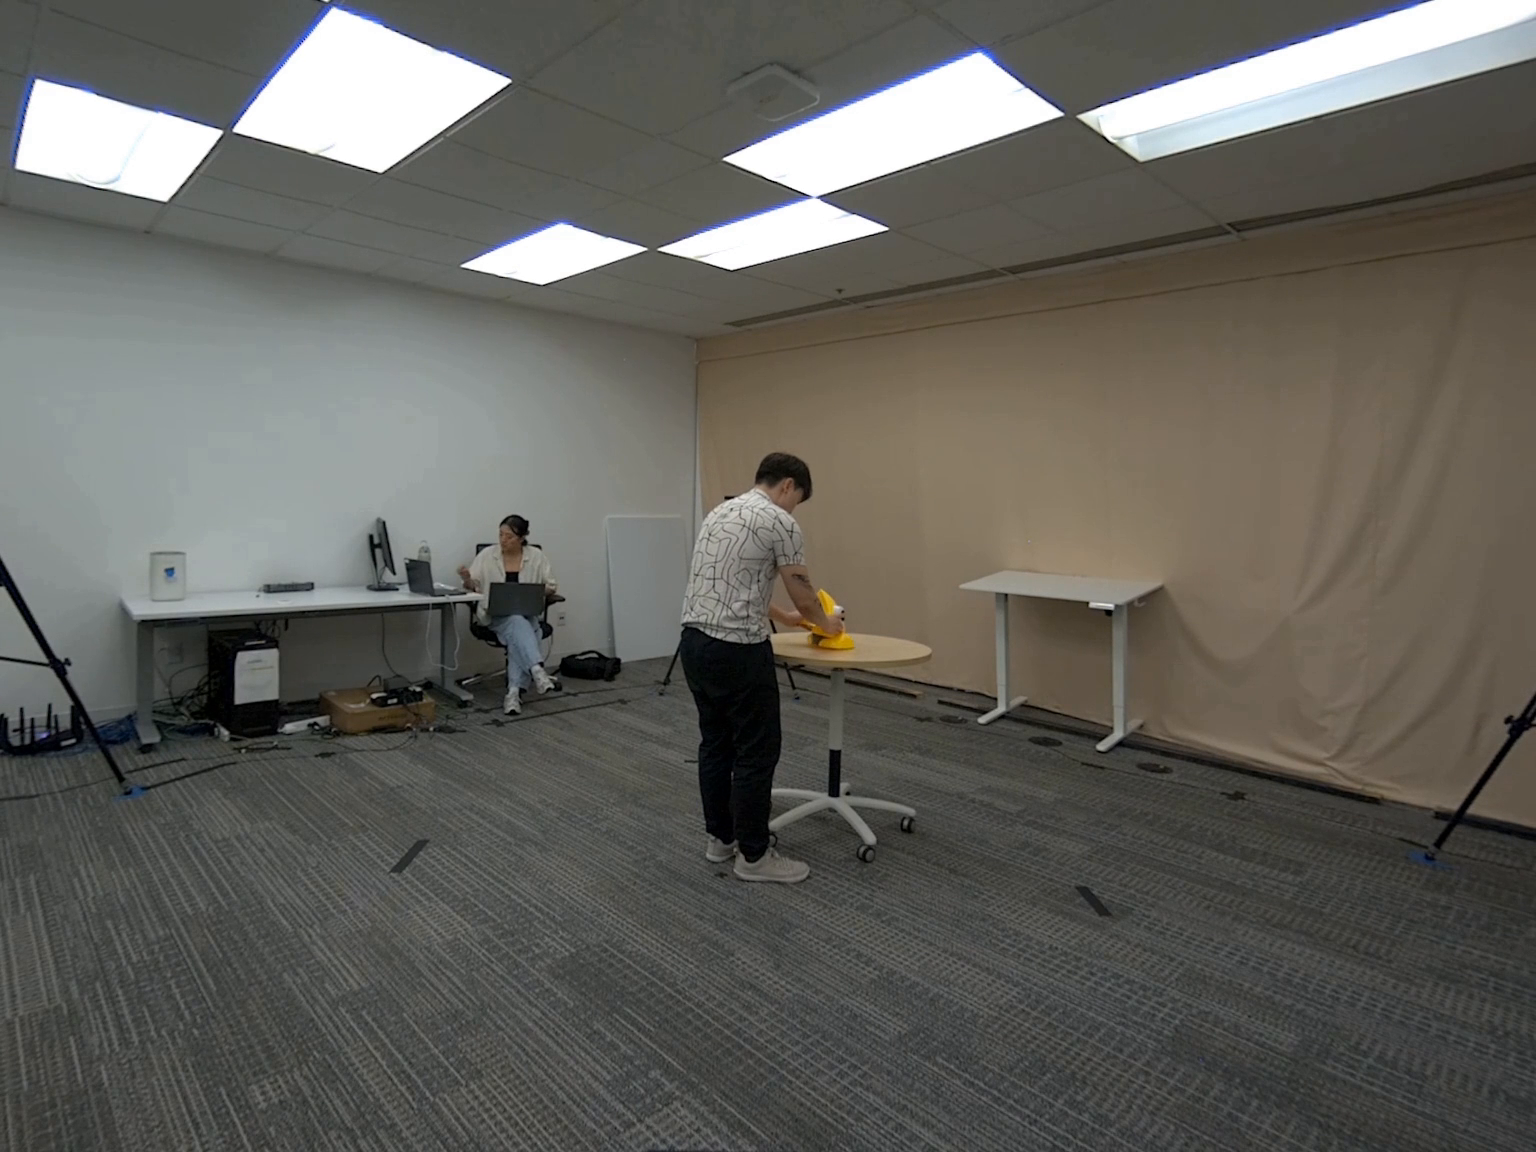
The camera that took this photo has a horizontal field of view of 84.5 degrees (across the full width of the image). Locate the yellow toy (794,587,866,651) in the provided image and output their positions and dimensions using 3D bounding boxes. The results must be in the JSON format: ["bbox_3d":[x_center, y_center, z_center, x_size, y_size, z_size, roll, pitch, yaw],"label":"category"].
[{"bbox_3d":[0.254,0.173,3.507,0.188,0.230,0.210,2,3,-35],"label":"yellow toy"}]
